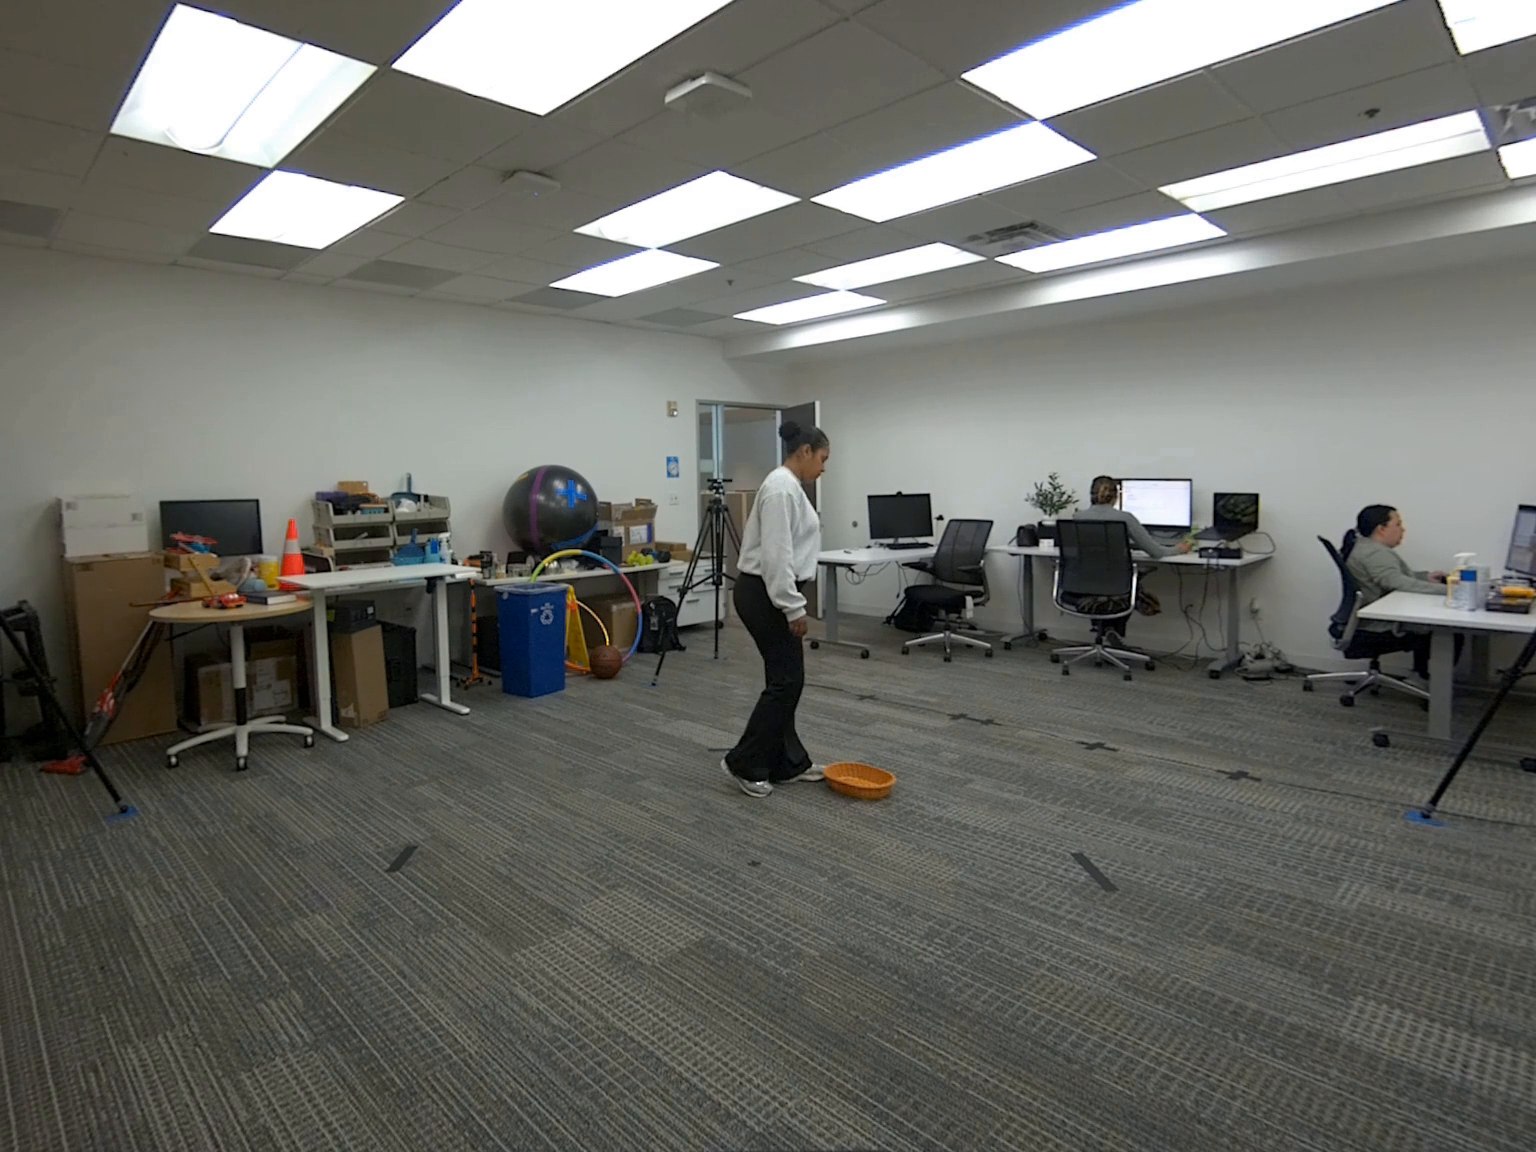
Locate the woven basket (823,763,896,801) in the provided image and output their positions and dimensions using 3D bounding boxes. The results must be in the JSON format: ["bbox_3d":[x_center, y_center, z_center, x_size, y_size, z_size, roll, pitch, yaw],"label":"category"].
[{"bbox_3d":[0.402,0.921,3.822,0.246,0.073,0.361,-7,9,-41],"label":"woven basket"}]
